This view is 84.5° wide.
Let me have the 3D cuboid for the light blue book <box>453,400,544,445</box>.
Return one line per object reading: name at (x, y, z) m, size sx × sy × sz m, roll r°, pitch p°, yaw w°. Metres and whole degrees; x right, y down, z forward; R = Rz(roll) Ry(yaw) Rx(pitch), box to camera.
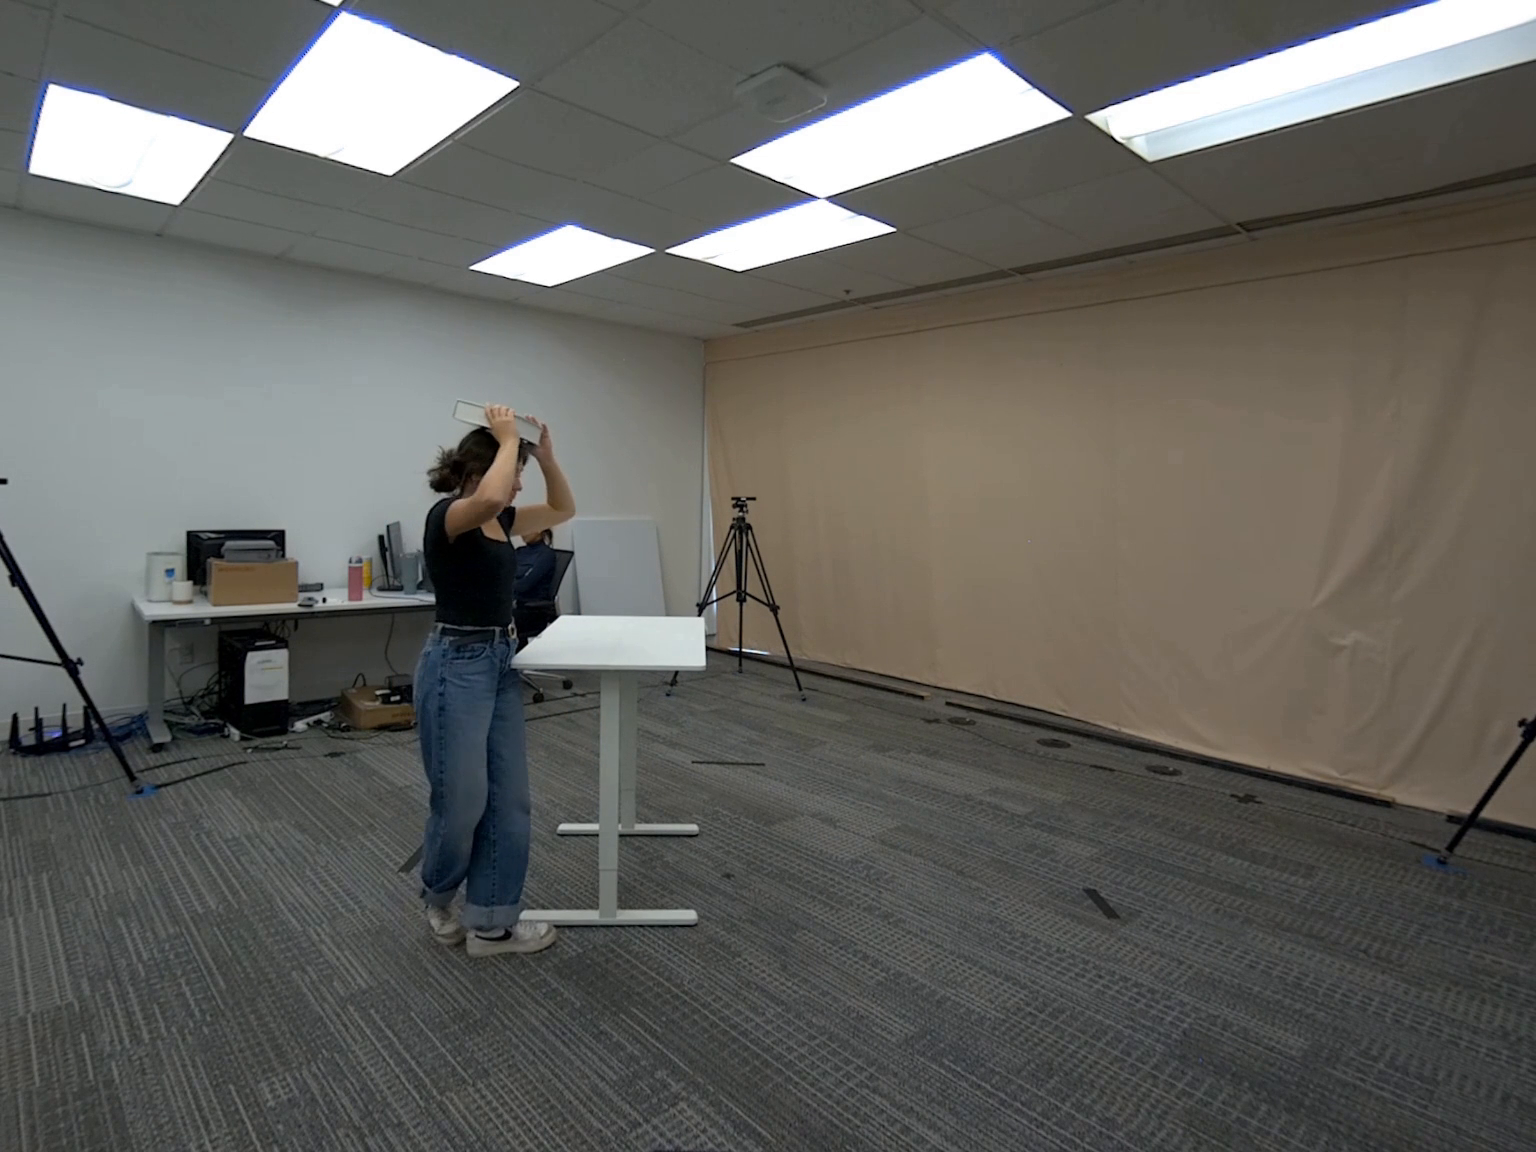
light blue book at (-0.827, -0.464, 2.546) m, size 0.192 × 0.059 × 0.260 m, roll 13°, pitch 2°, yaw 3°
